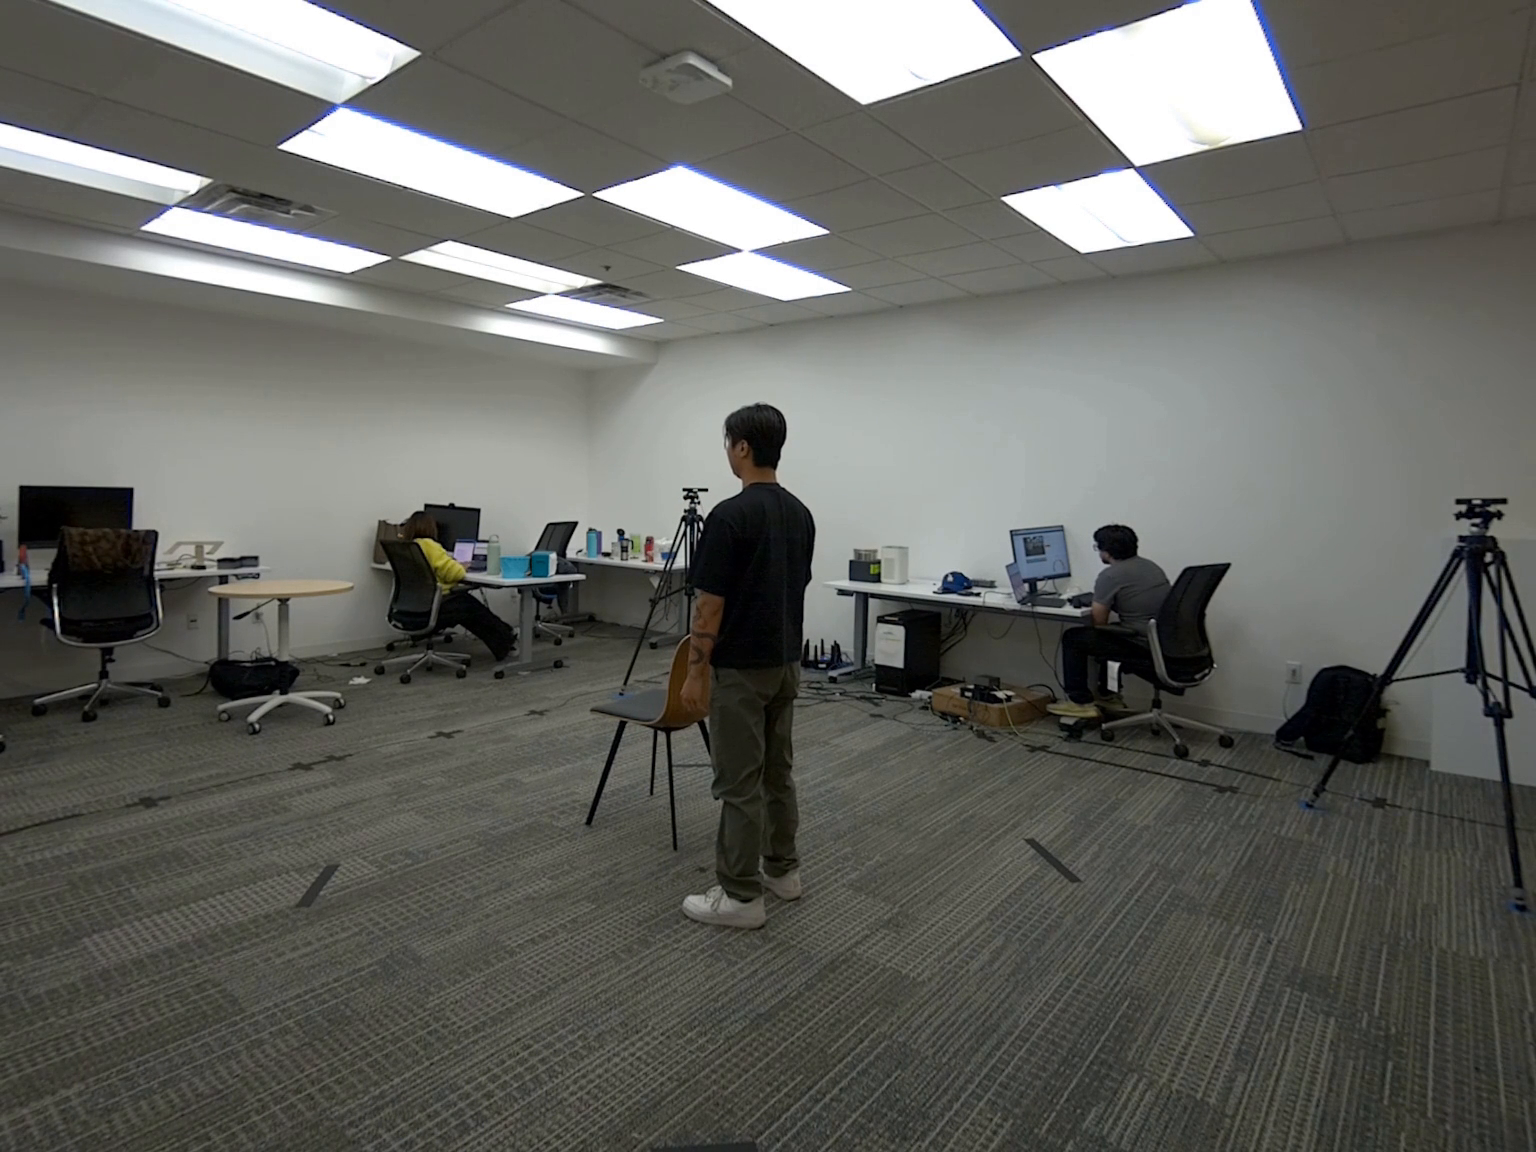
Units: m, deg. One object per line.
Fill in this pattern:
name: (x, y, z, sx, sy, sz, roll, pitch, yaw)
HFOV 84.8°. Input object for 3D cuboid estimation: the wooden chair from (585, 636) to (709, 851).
wooden chair: (-0.455, 0.596, 3.542, 0.540, 0.873, 0.466, 8, 7, 30)
